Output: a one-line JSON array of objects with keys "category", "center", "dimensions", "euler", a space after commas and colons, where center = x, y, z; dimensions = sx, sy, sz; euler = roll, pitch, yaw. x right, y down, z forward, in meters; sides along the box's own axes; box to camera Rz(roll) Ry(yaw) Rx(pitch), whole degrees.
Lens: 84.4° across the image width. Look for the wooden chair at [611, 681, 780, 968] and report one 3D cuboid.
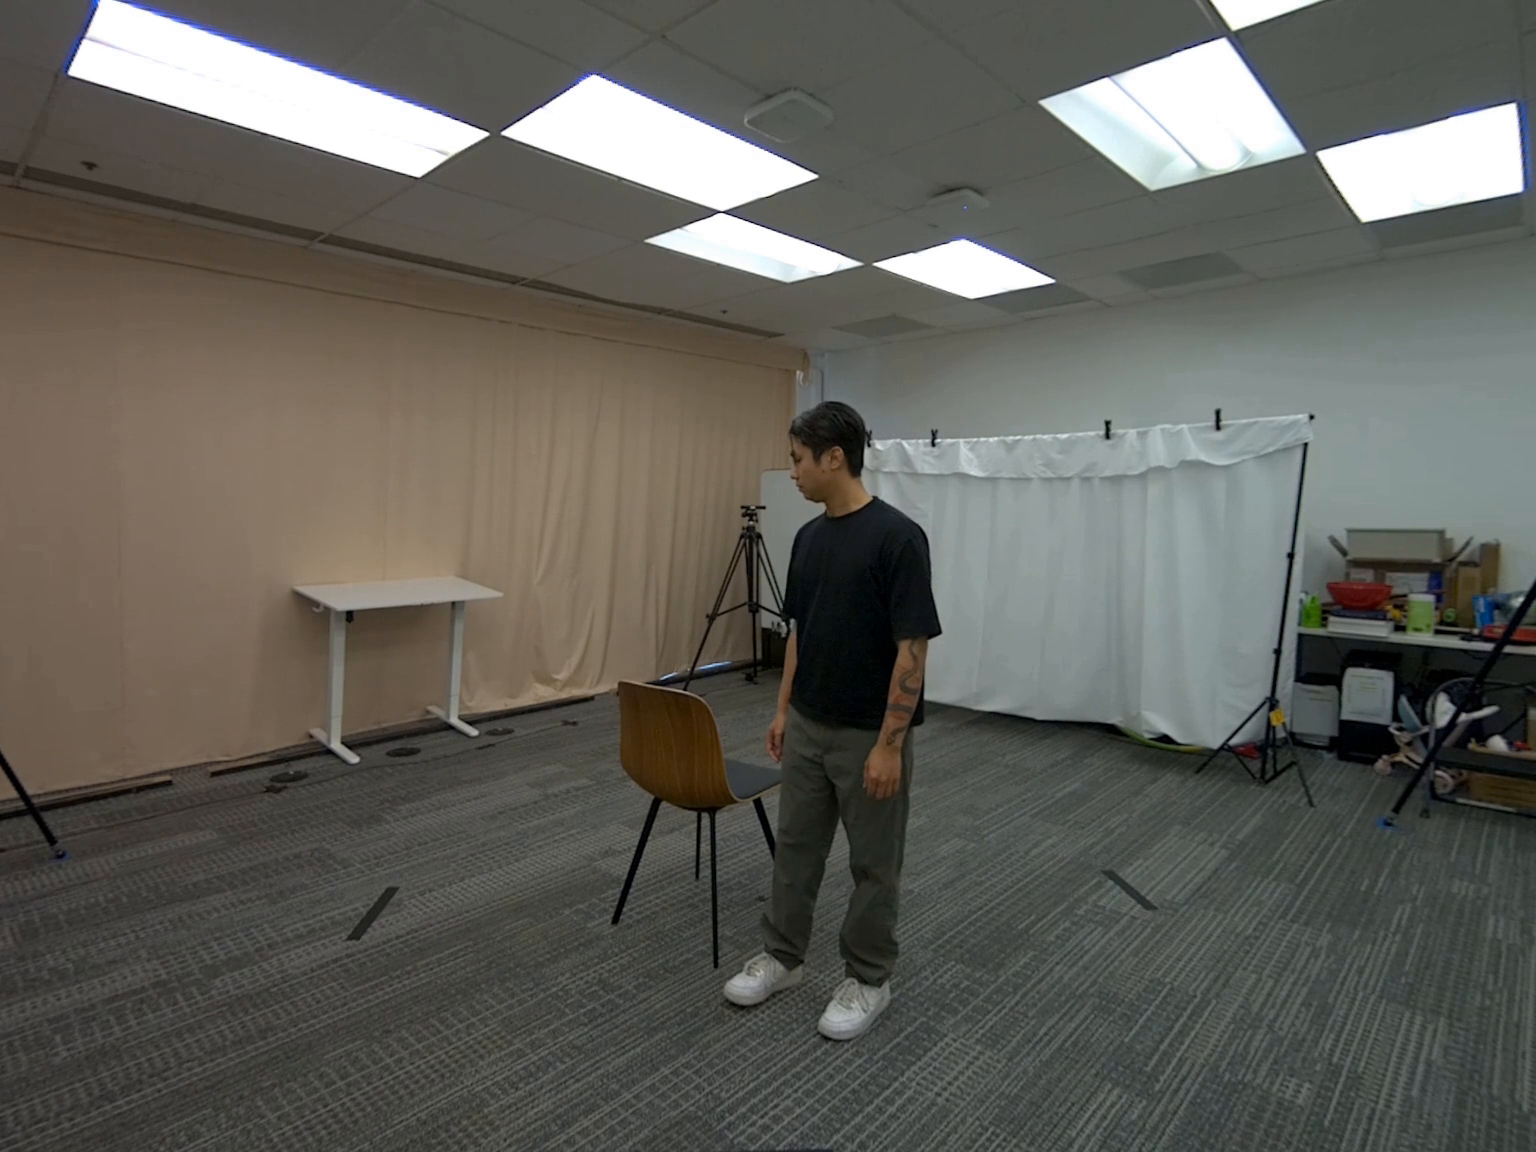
[{"category": "wooden chair", "center": [-0.206, 0.729, 2.828], "dimensions": [0.493, 0.873, 0.509], "euler": [2, 8, 36]}]
